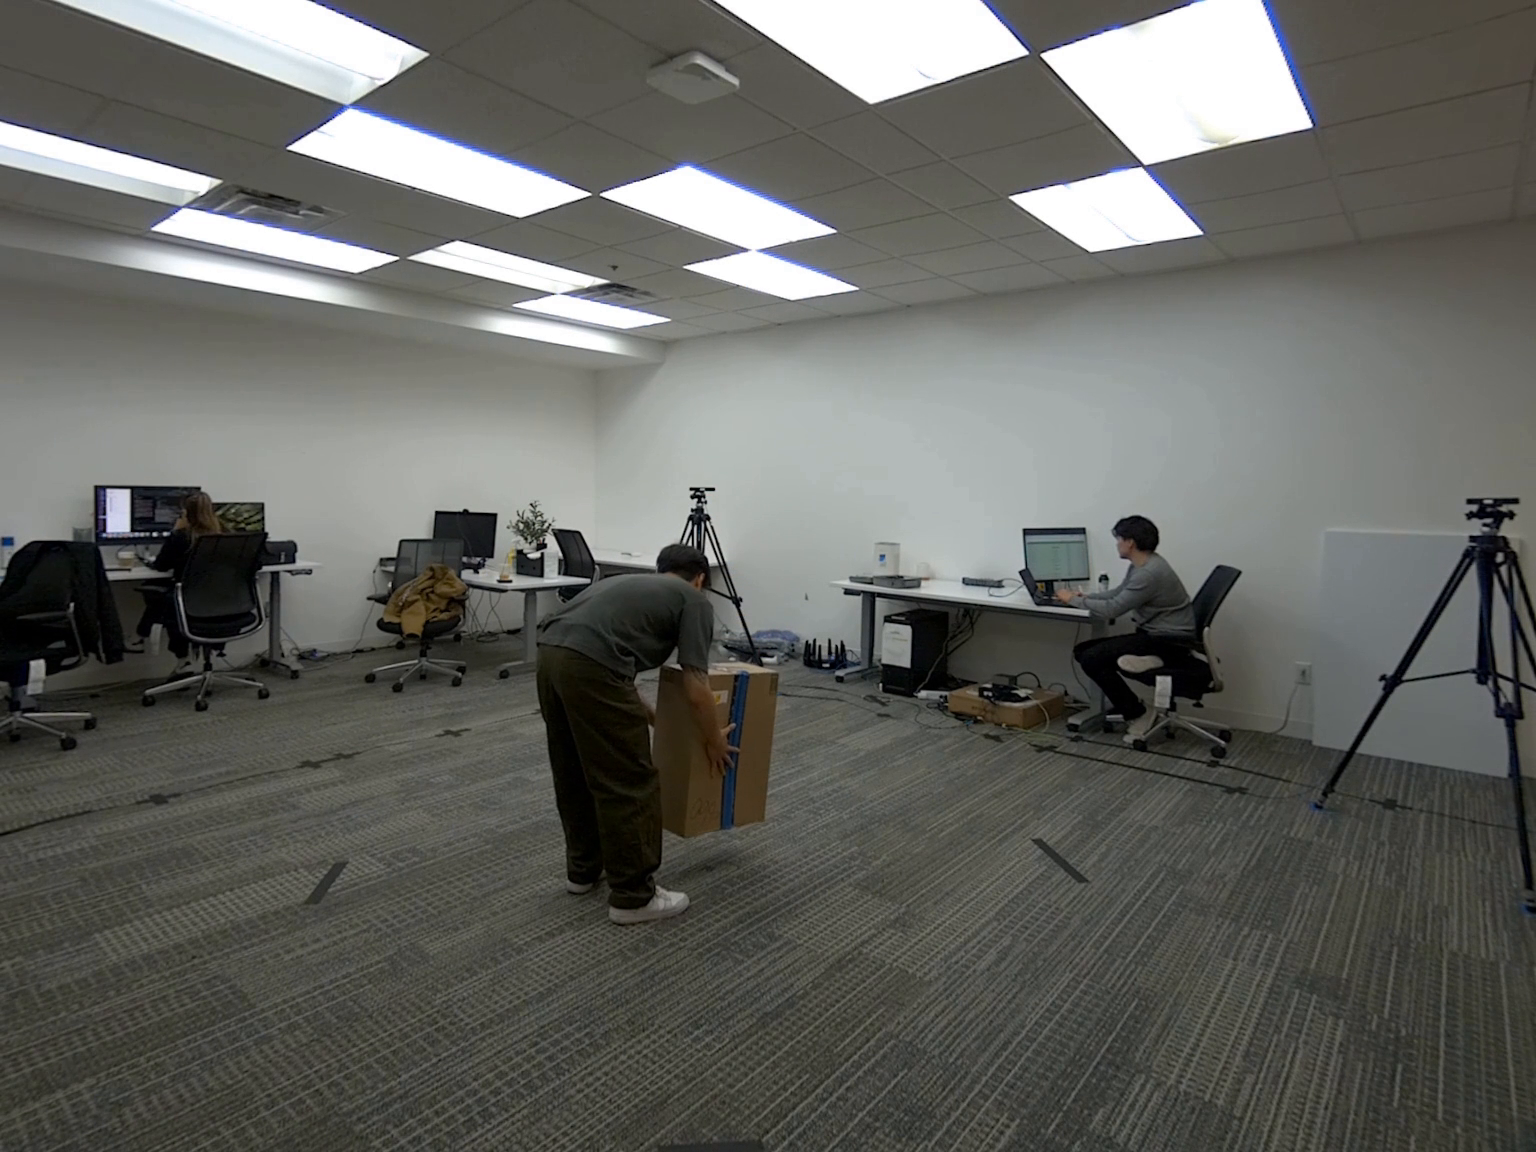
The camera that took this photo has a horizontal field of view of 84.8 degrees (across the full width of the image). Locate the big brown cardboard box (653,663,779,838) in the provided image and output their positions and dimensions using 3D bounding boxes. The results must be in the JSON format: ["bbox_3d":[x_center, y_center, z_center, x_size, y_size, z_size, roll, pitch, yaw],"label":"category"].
[{"bbox_3d":[-0.208,0.619,3.142,0.241,0.588,0.403,7,2,44],"label":"big brown cardboard box"}]
